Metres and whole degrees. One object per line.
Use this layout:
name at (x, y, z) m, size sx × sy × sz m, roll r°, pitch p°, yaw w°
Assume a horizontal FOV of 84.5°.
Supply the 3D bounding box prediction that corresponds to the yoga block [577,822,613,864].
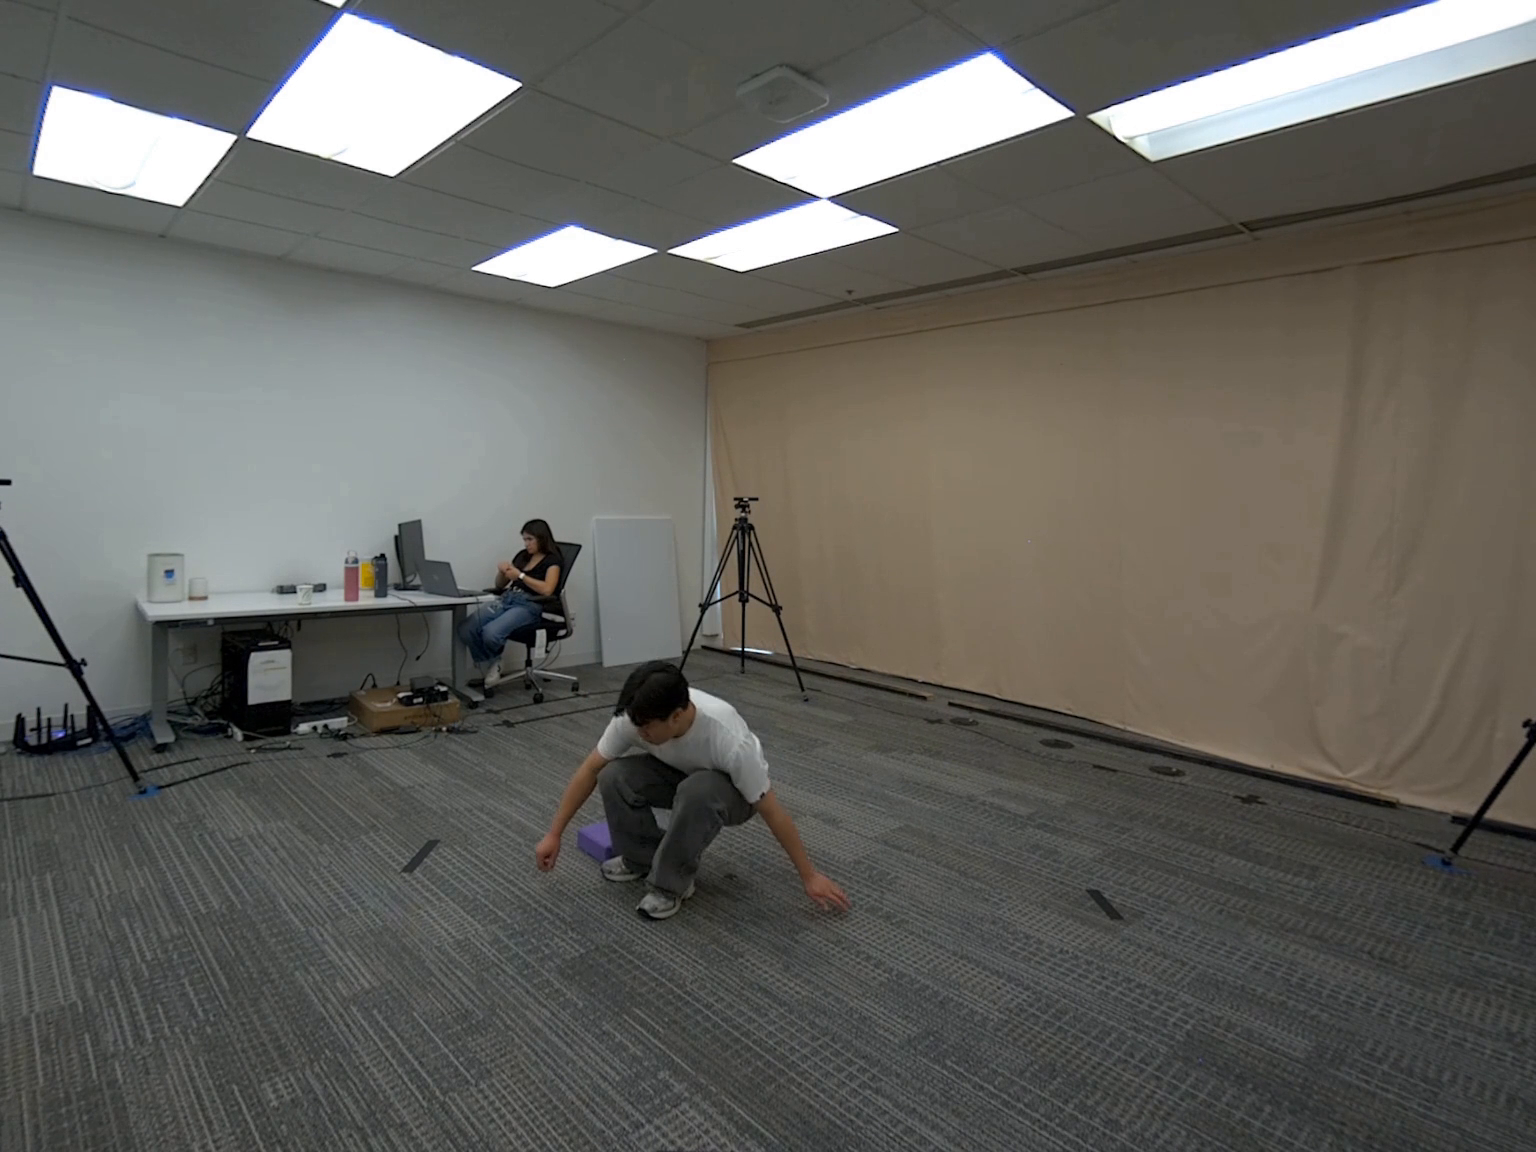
yoga block at (-0.634, 1.043, 3.286) m, size 0.146 × 0.076 × 0.235 m, roll -3°, pitch 6°, yaw -41°
